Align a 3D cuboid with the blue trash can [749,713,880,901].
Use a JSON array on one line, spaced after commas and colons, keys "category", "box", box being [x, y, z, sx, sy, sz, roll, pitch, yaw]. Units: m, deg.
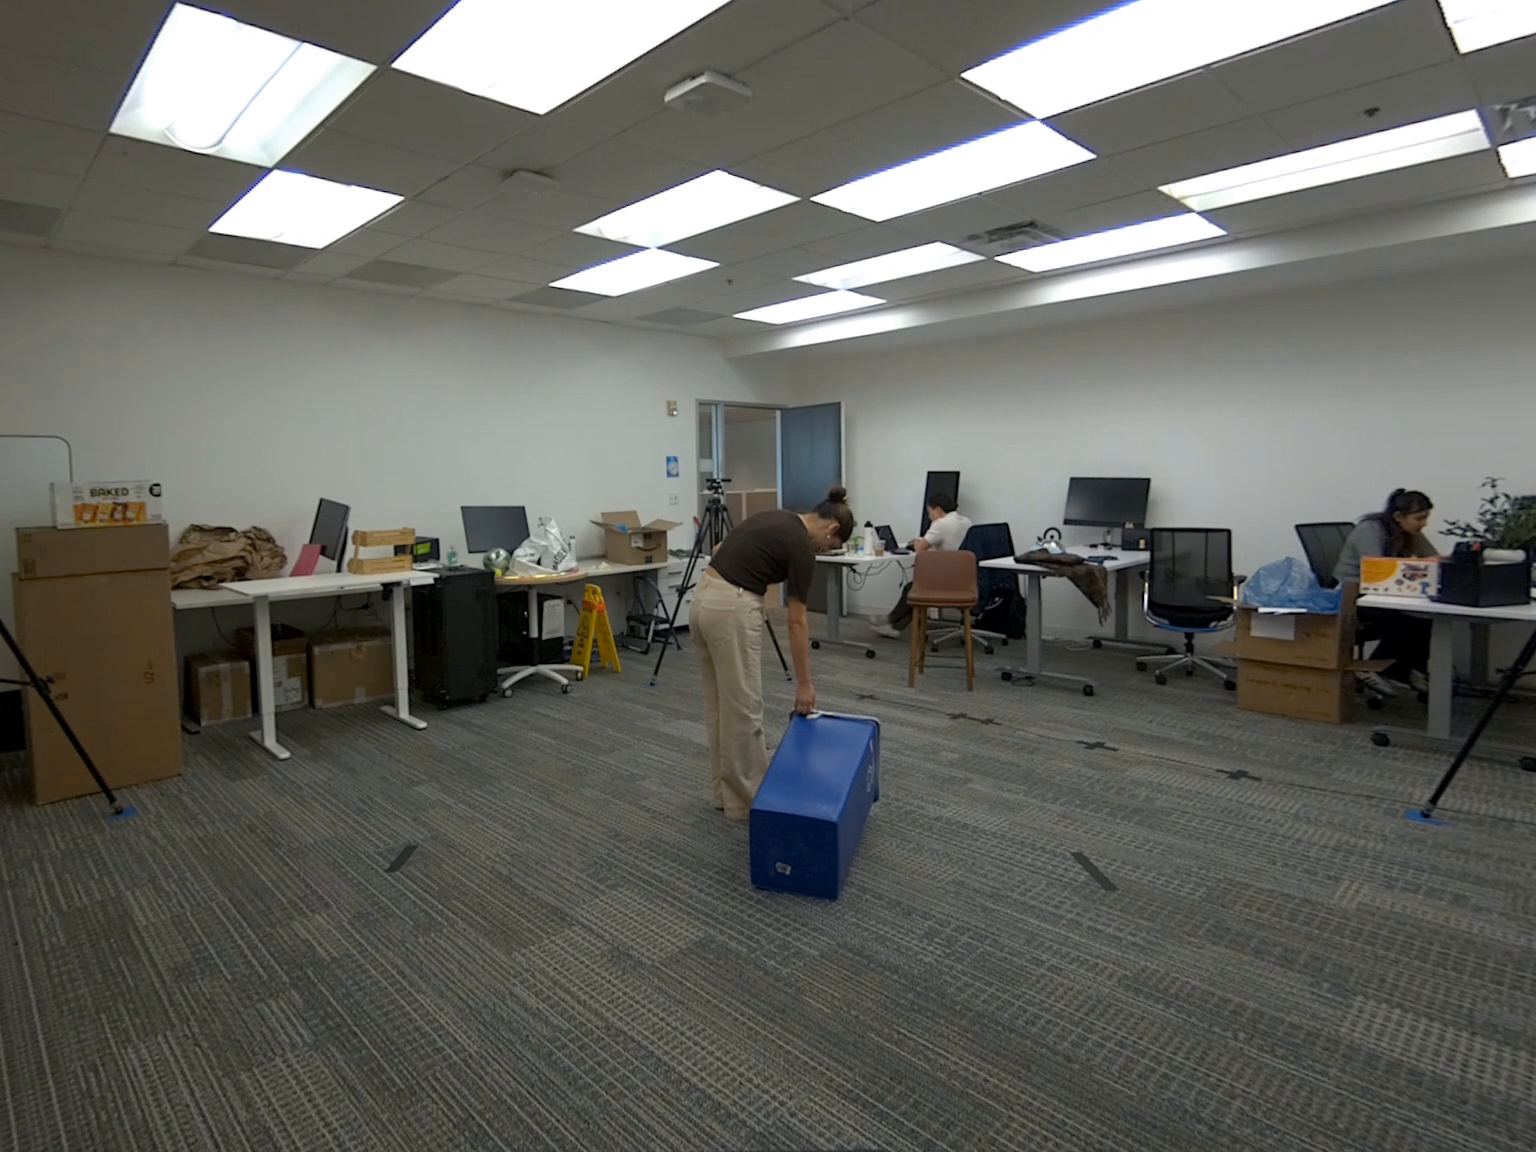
[{"category": "blue trash can", "box": [0.176, 0.826, 3.153, 0.385, 0.369, 0.709, 3, 16, 19]}]
